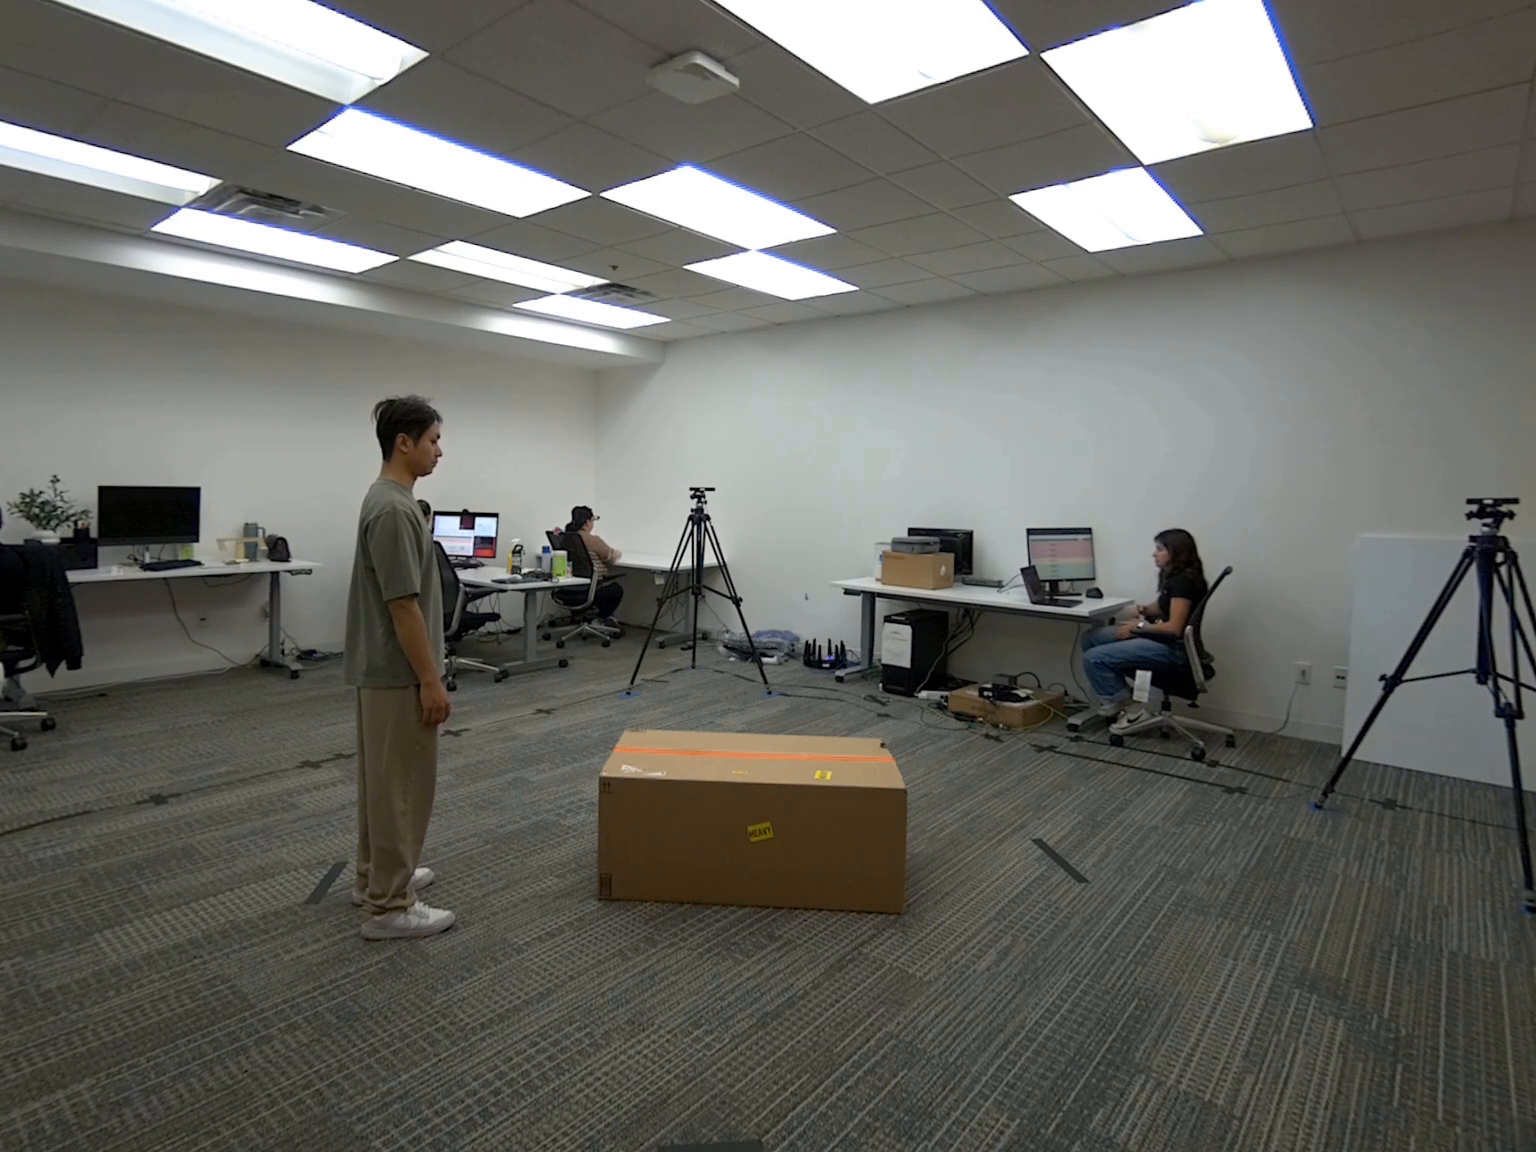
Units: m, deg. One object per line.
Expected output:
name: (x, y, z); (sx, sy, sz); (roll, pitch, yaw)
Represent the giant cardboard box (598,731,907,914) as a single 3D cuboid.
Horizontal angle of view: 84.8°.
giant cardboard box: (-0.070, 0.854, 3.097); (1.029, 0.425, 0.578); (1, 4, 2)
